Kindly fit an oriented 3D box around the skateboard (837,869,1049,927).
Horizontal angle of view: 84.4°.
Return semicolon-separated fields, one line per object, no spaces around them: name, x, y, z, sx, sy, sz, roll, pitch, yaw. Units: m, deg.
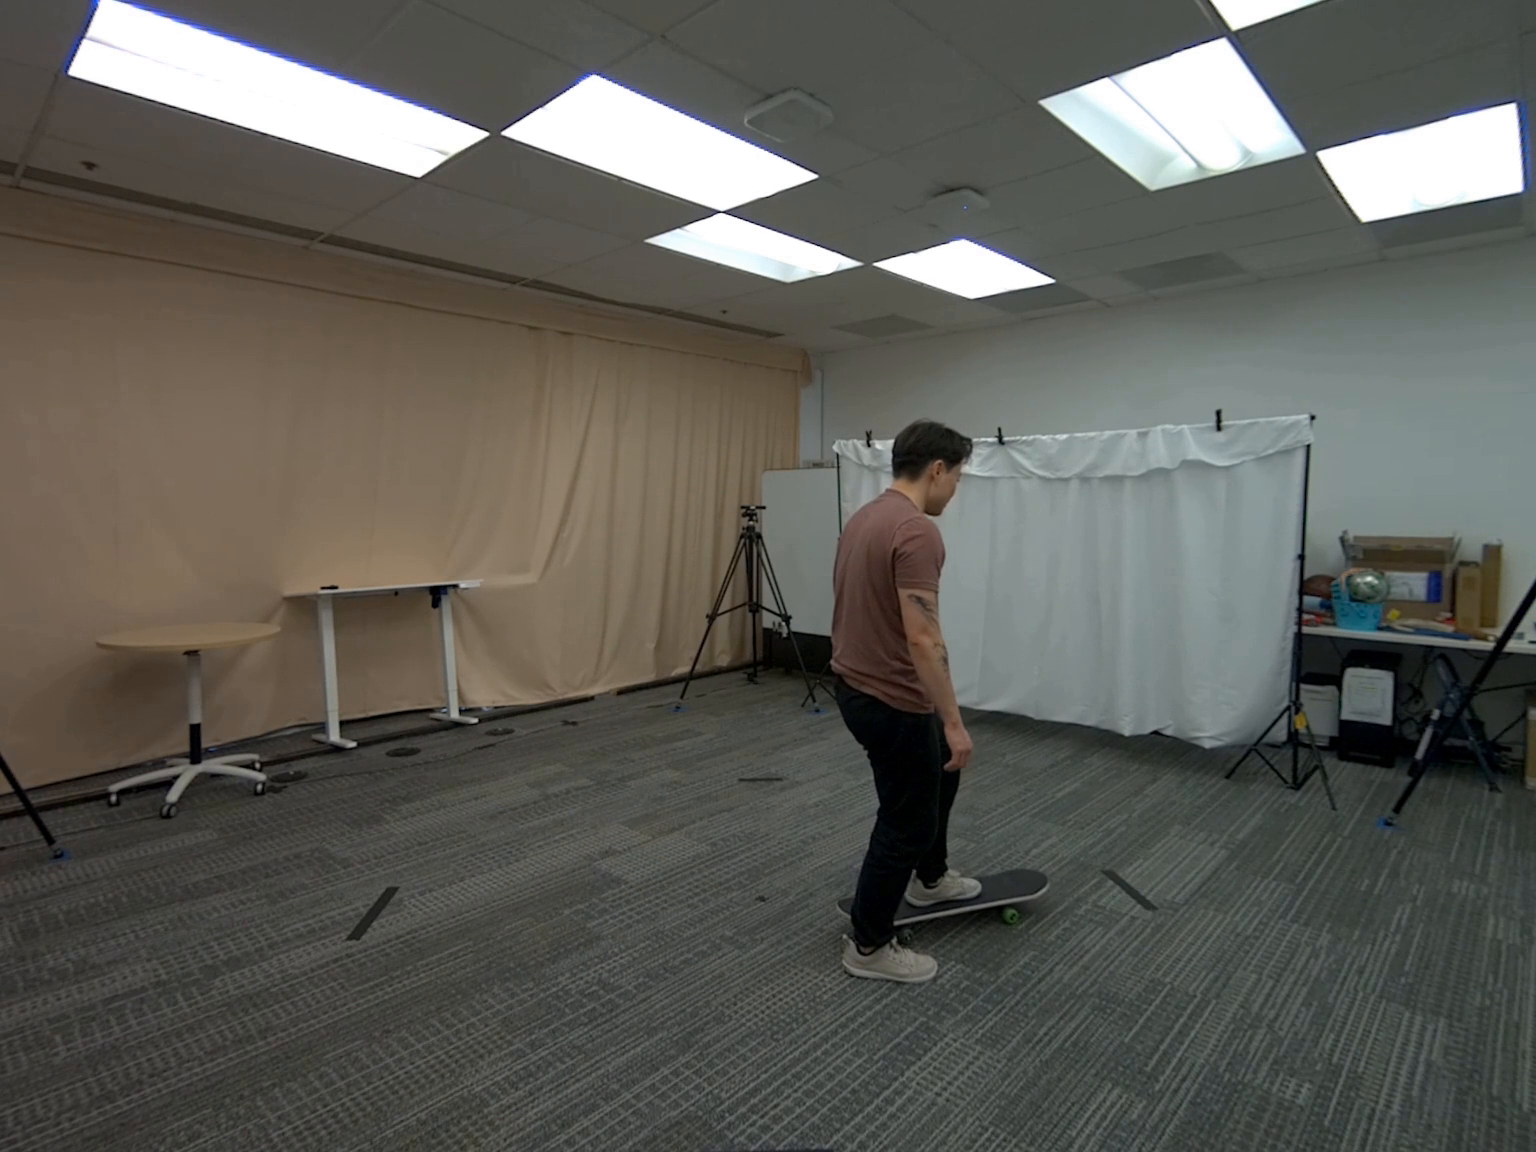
skateboard;0.598;1.100;2.801;0.770;0.110;0.197;-1;3;-19
